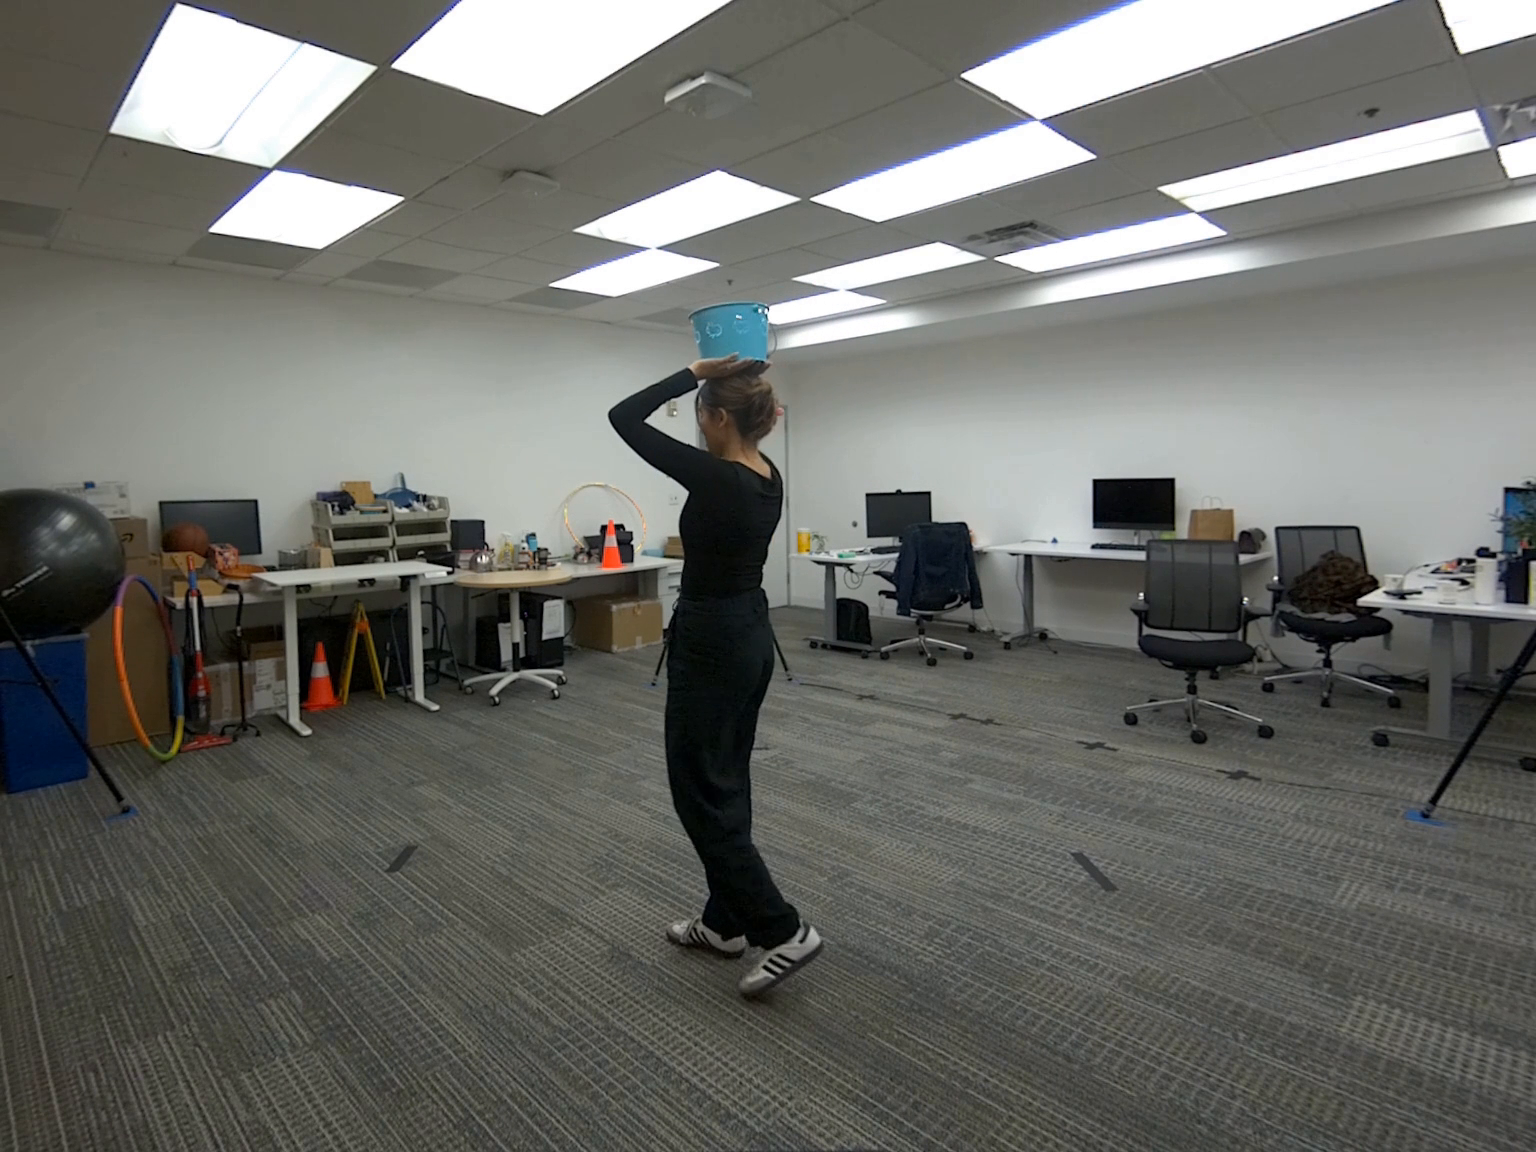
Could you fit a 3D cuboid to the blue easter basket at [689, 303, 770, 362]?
[{"bbox_3d":[-0.094,-0.664,2.408,0.243,0.155,0.244,-6,3,-1],"label":"blue easter basket"}]
